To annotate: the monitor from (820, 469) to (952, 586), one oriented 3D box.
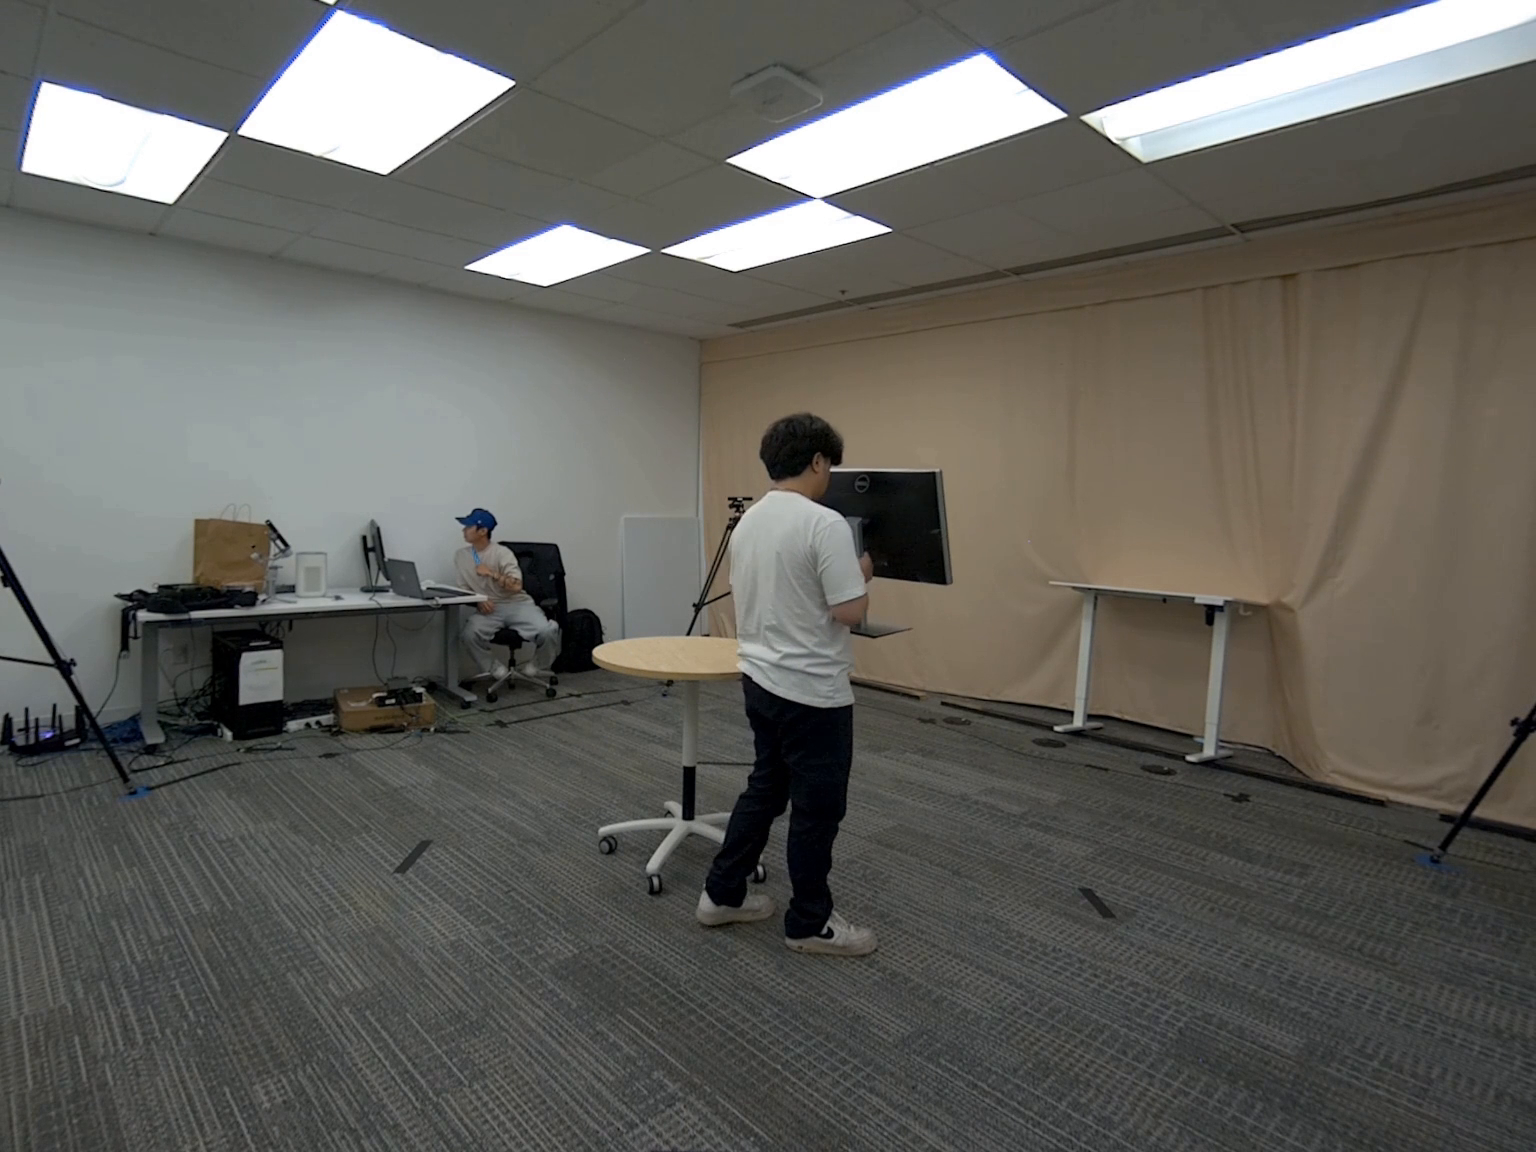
[{"bbox_3d":[0.292,-0.071,2.735,0.206,0.550,0.580,-11,13,-41],"label":"monitor"}]
